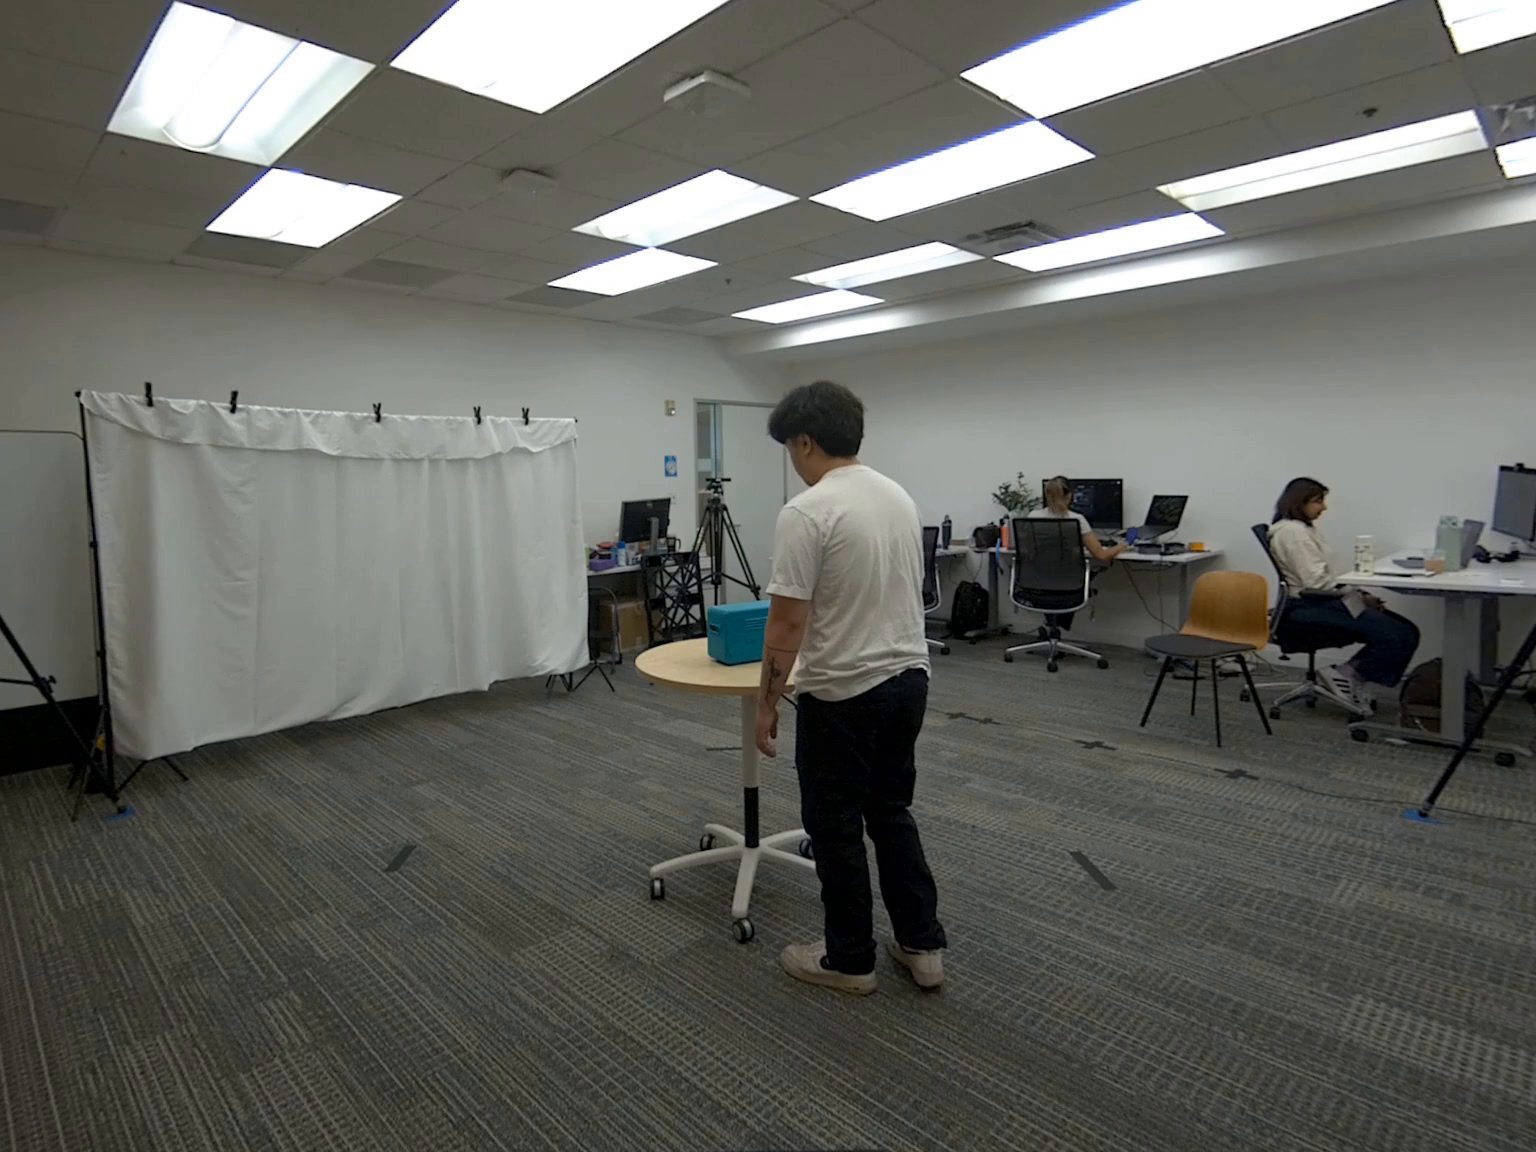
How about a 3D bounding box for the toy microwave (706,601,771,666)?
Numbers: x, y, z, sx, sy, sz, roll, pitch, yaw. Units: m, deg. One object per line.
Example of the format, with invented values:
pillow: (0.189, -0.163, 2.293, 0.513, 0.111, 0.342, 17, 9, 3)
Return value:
toy microwave: (-0.057, 0.184, 2.871, 0.279, 0.183, 0.157, -5, 6, -31)
